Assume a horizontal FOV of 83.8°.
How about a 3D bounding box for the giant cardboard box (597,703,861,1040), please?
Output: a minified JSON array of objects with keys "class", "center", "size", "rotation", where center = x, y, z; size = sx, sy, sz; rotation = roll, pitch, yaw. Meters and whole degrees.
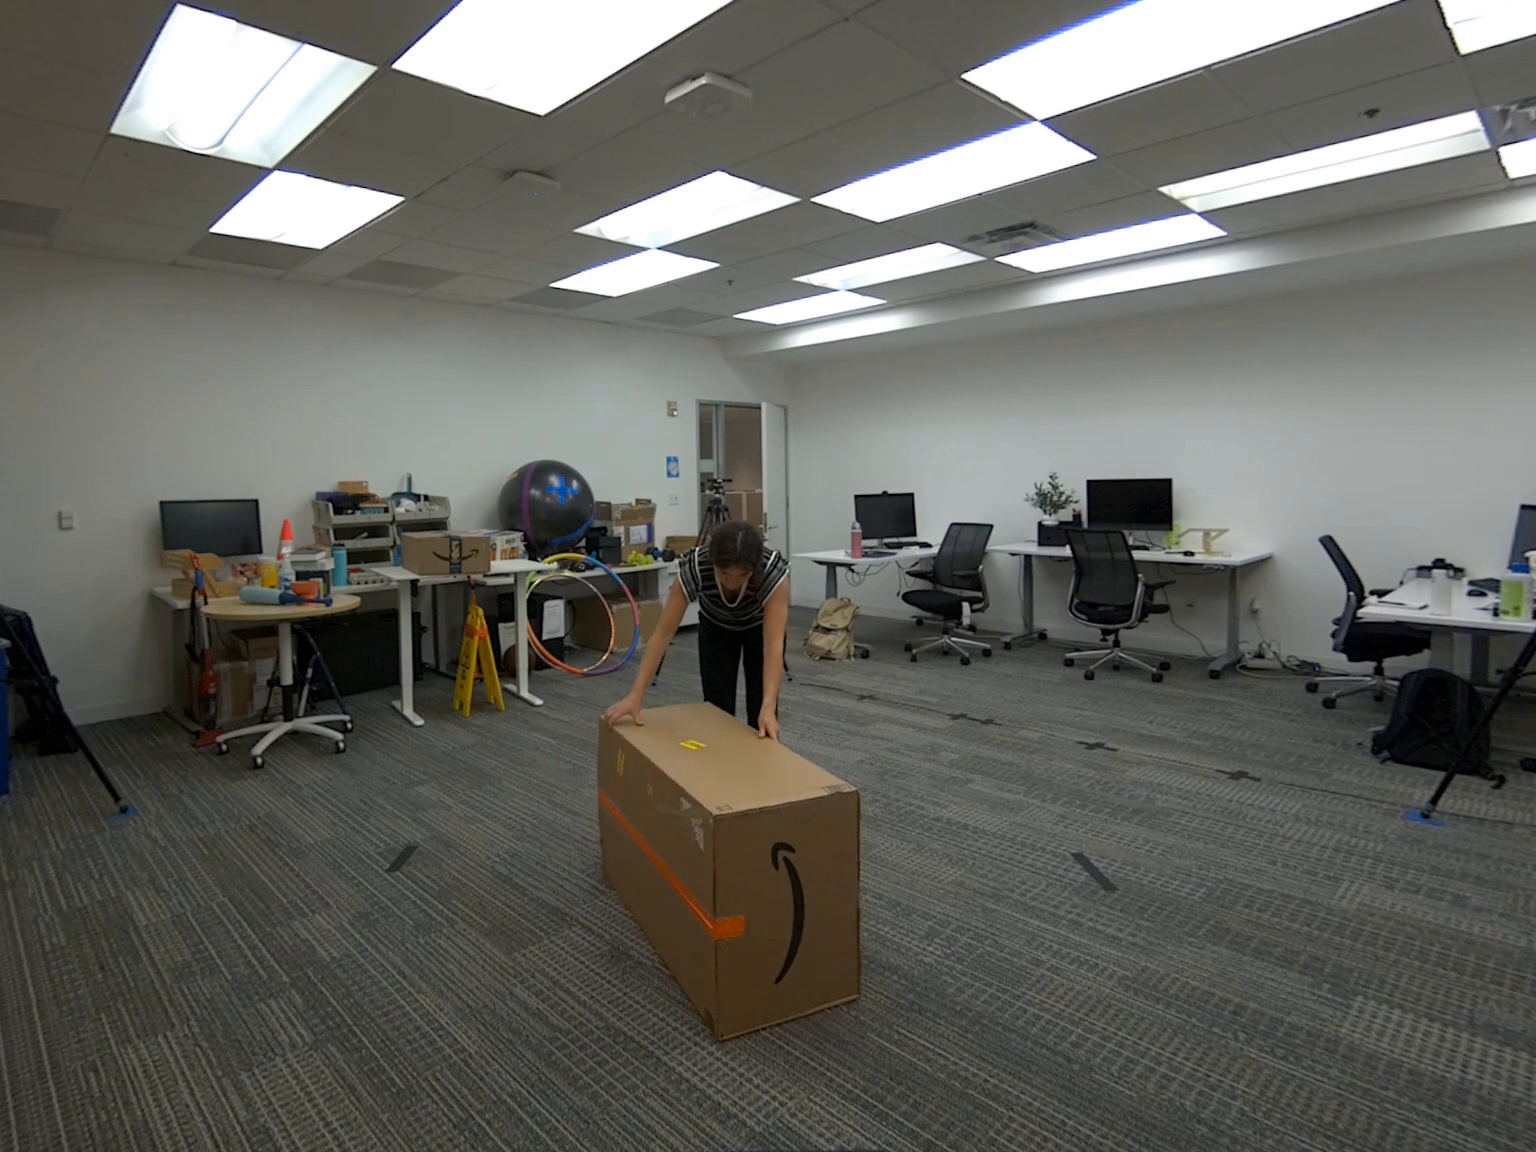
[{"class":"giant cardboard box","center":[-0.180,0.808,2.655],"size":[0.417,0.575,1.052],"rotation":[-3,6,-26]}]
